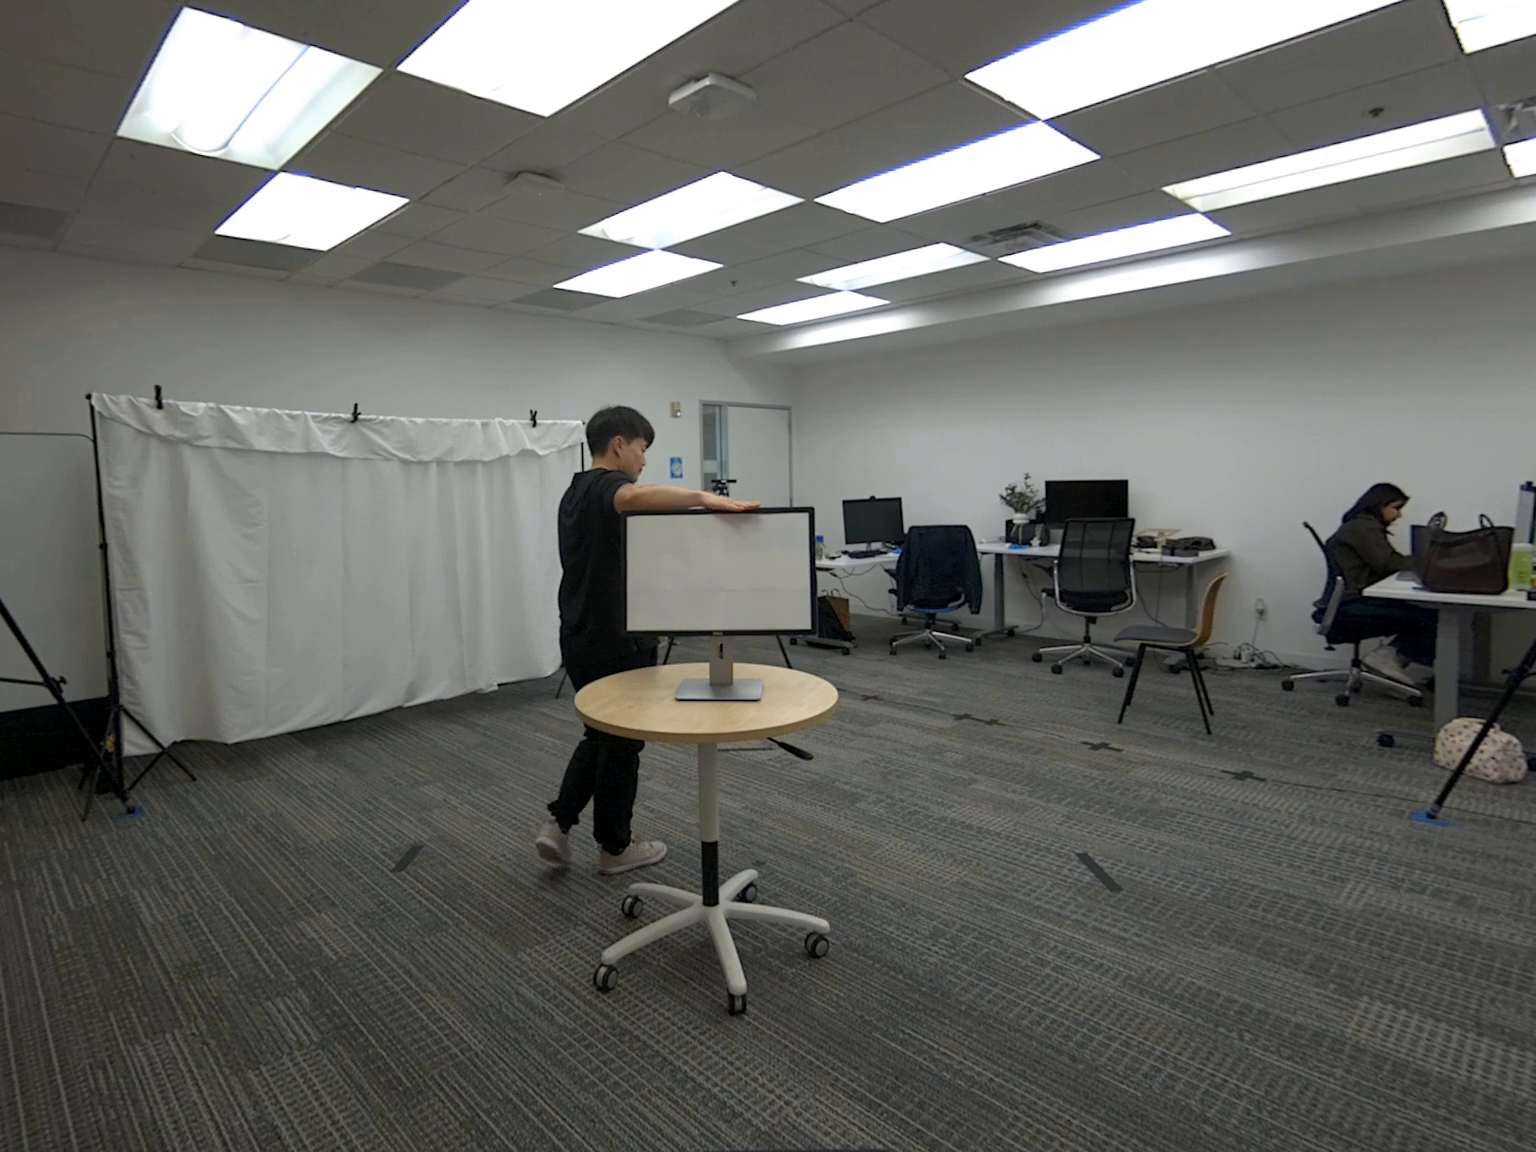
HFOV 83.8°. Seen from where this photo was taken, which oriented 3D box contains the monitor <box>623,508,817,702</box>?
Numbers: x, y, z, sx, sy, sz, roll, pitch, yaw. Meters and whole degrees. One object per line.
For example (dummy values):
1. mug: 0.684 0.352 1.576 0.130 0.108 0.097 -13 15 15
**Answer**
1. monitor: -0.139 0.080 2.490 0.541 0.520 0.187 -1 6 3
